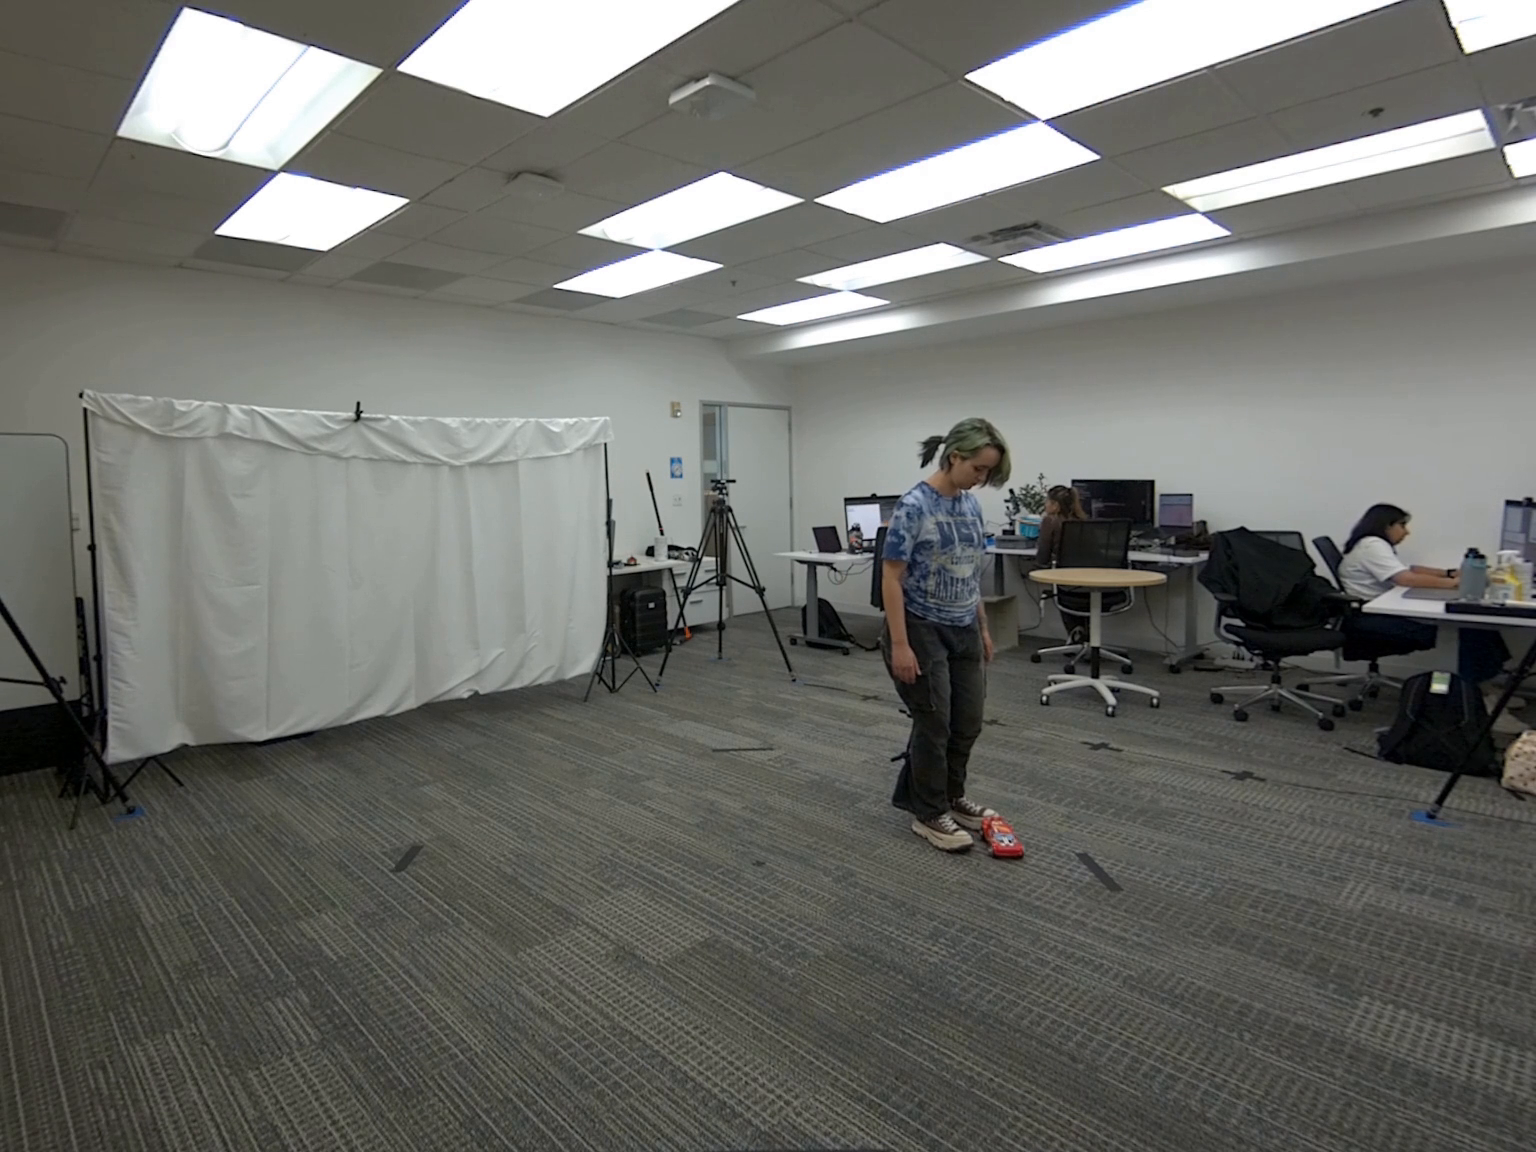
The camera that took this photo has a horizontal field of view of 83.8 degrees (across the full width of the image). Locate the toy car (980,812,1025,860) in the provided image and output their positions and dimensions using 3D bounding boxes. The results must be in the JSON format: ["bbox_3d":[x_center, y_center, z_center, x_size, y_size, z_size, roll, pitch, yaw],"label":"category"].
[{"bbox_3d":[0.869,0.981,3.219,0.131,0.082,0.257,0,17,4],"label":"toy car"}]
